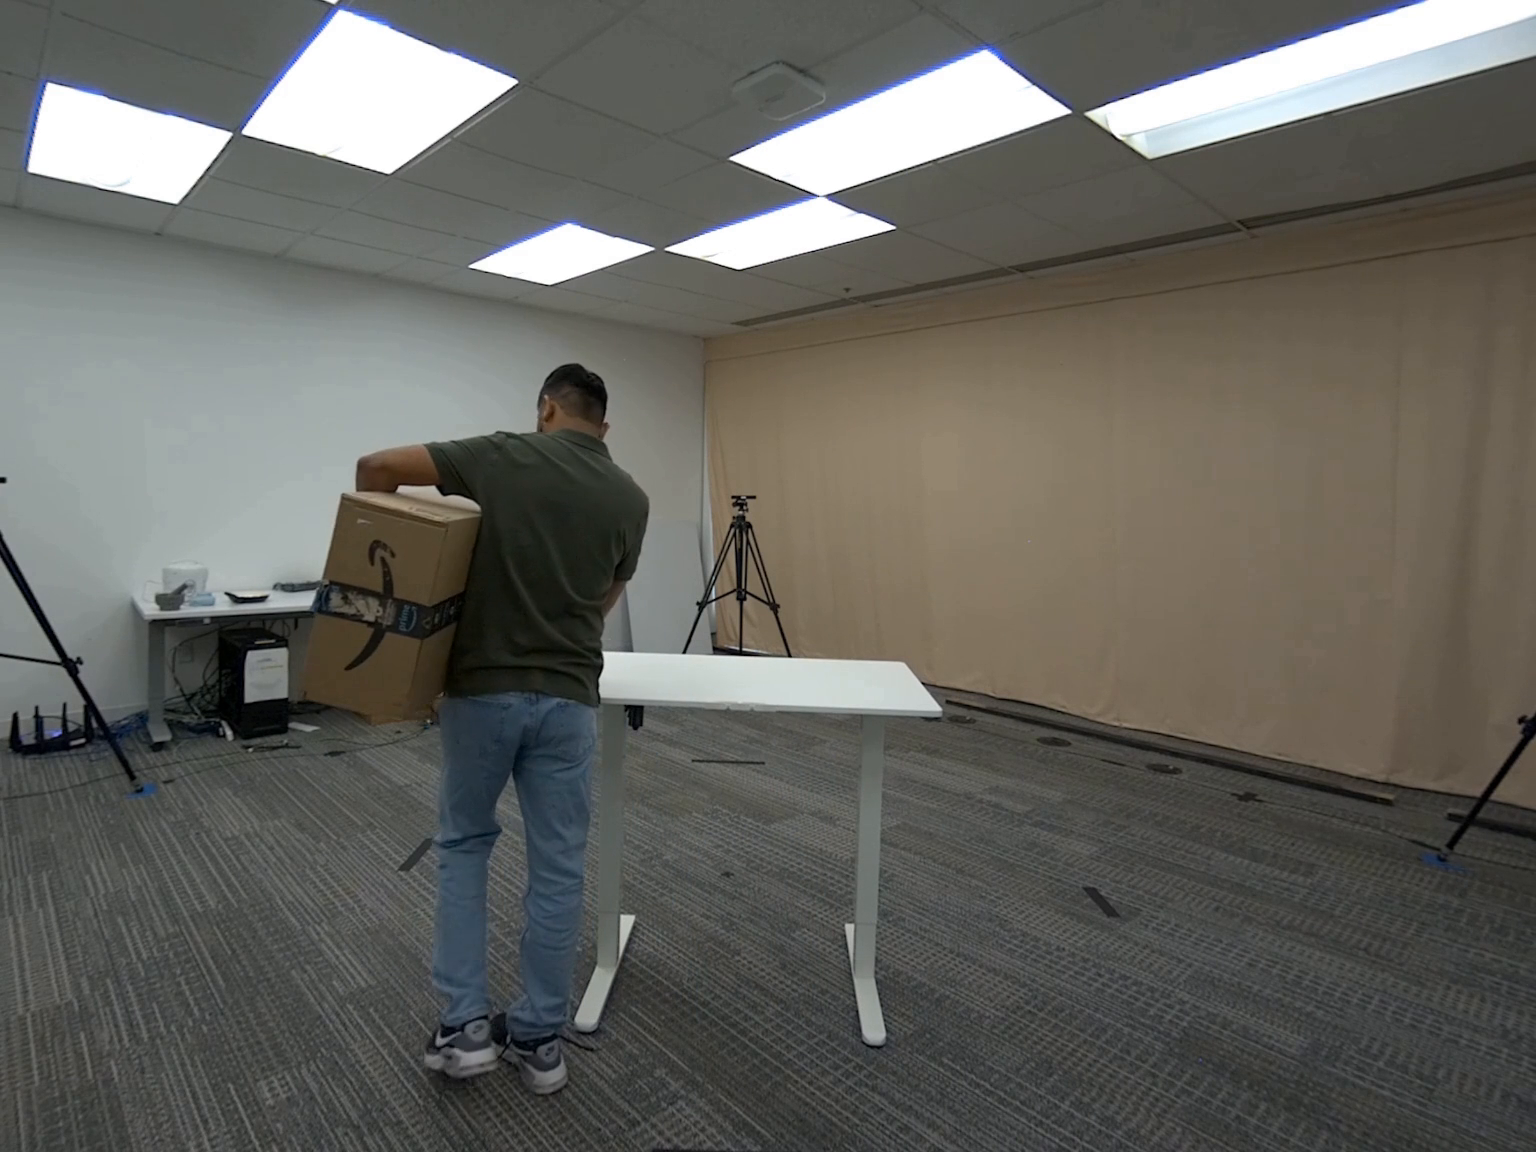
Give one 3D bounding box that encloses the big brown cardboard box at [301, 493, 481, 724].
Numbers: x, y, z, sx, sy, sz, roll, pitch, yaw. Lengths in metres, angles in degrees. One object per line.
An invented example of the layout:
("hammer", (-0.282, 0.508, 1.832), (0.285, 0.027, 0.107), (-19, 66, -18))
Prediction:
("big brown cardboard box", (-0.803, 0.041, 1.900), (0.233, 0.417, 0.591), (14, 4, -3))
